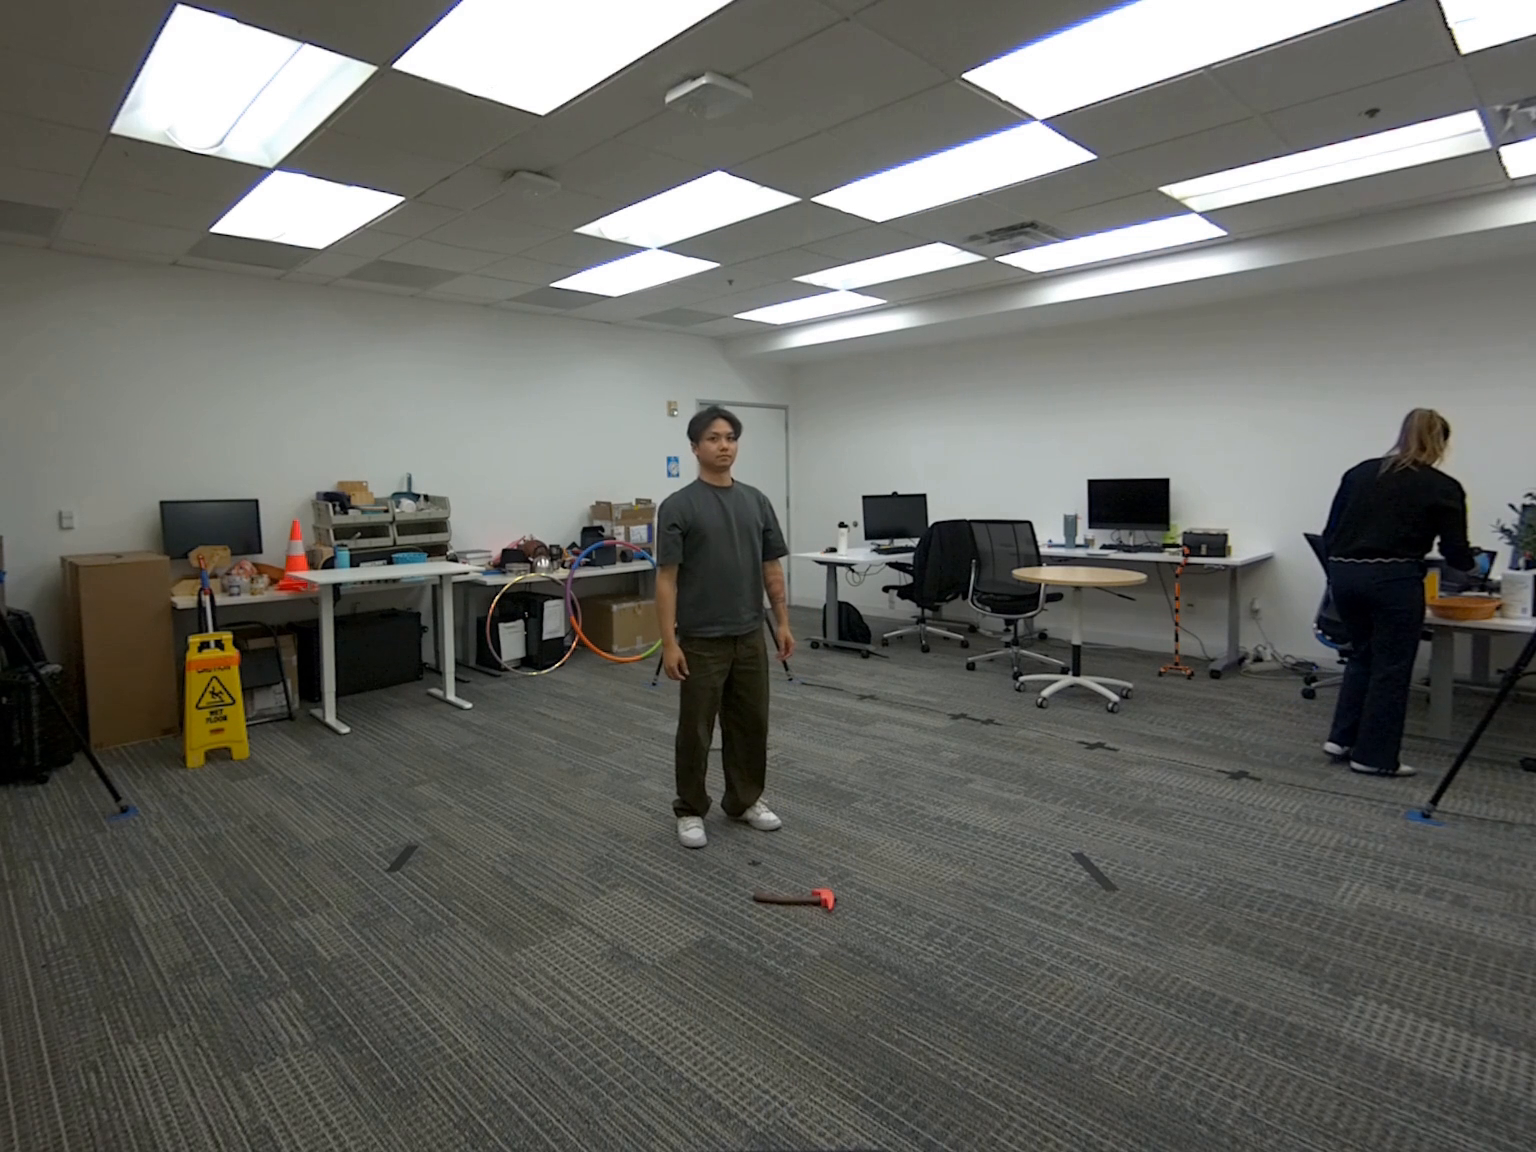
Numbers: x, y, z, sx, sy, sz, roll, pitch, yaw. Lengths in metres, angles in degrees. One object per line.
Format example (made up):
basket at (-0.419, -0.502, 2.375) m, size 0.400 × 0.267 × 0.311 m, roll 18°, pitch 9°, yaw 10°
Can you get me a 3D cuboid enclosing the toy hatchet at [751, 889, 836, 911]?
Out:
toy hatchet at (0.099, 1.060, 2.838) m, size 0.275 × 0.029 × 0.129 m, roll 0°, pitch 8°, yaw 19°
